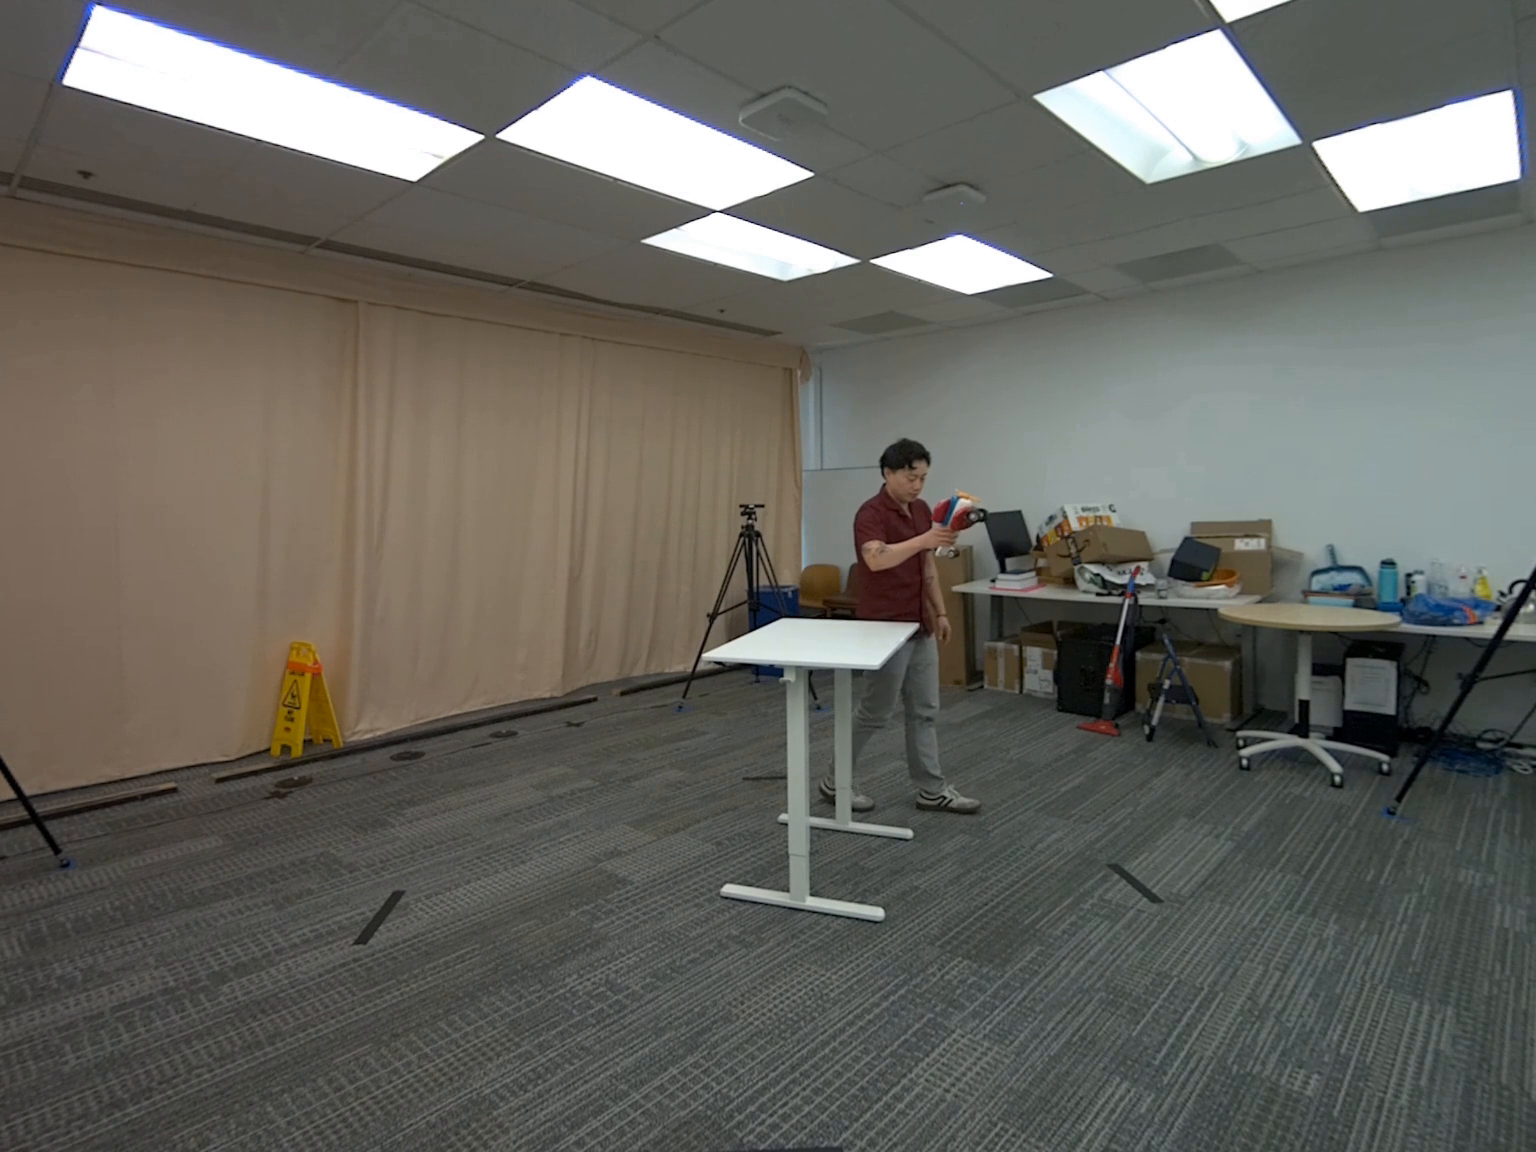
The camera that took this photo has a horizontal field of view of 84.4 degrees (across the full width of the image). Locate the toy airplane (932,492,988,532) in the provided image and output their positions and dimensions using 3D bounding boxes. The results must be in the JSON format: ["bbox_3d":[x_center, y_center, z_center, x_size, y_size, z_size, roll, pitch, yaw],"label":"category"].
[{"bbox_3d":[0.725,-0.196,3.268,0.161,0.259,0.244,42,-2,22],"label":"toy airplane"}]
